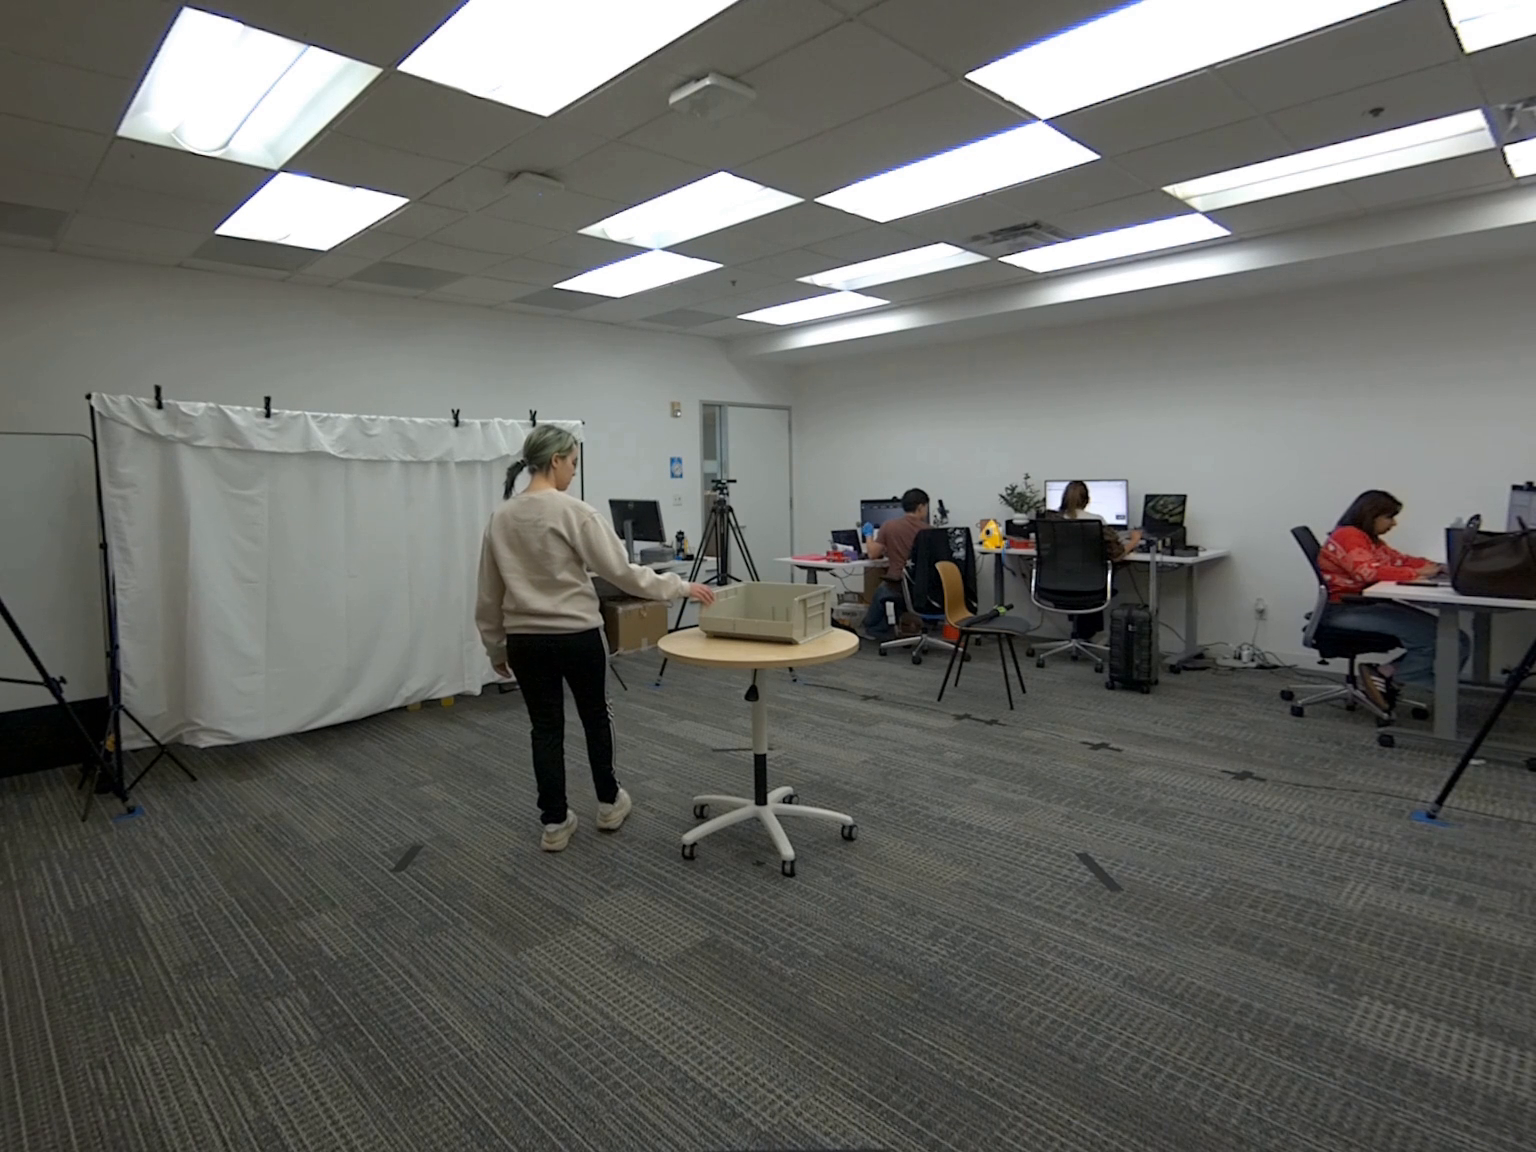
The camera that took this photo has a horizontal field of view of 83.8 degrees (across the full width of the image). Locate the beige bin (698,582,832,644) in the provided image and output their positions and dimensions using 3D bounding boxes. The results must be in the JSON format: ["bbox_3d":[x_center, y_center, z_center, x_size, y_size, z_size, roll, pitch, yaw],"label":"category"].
[{"bbox_3d":[0.000,0.137,3.363,0.433,0.188,0.369,2,5,28],"label":"beige bin"}]
